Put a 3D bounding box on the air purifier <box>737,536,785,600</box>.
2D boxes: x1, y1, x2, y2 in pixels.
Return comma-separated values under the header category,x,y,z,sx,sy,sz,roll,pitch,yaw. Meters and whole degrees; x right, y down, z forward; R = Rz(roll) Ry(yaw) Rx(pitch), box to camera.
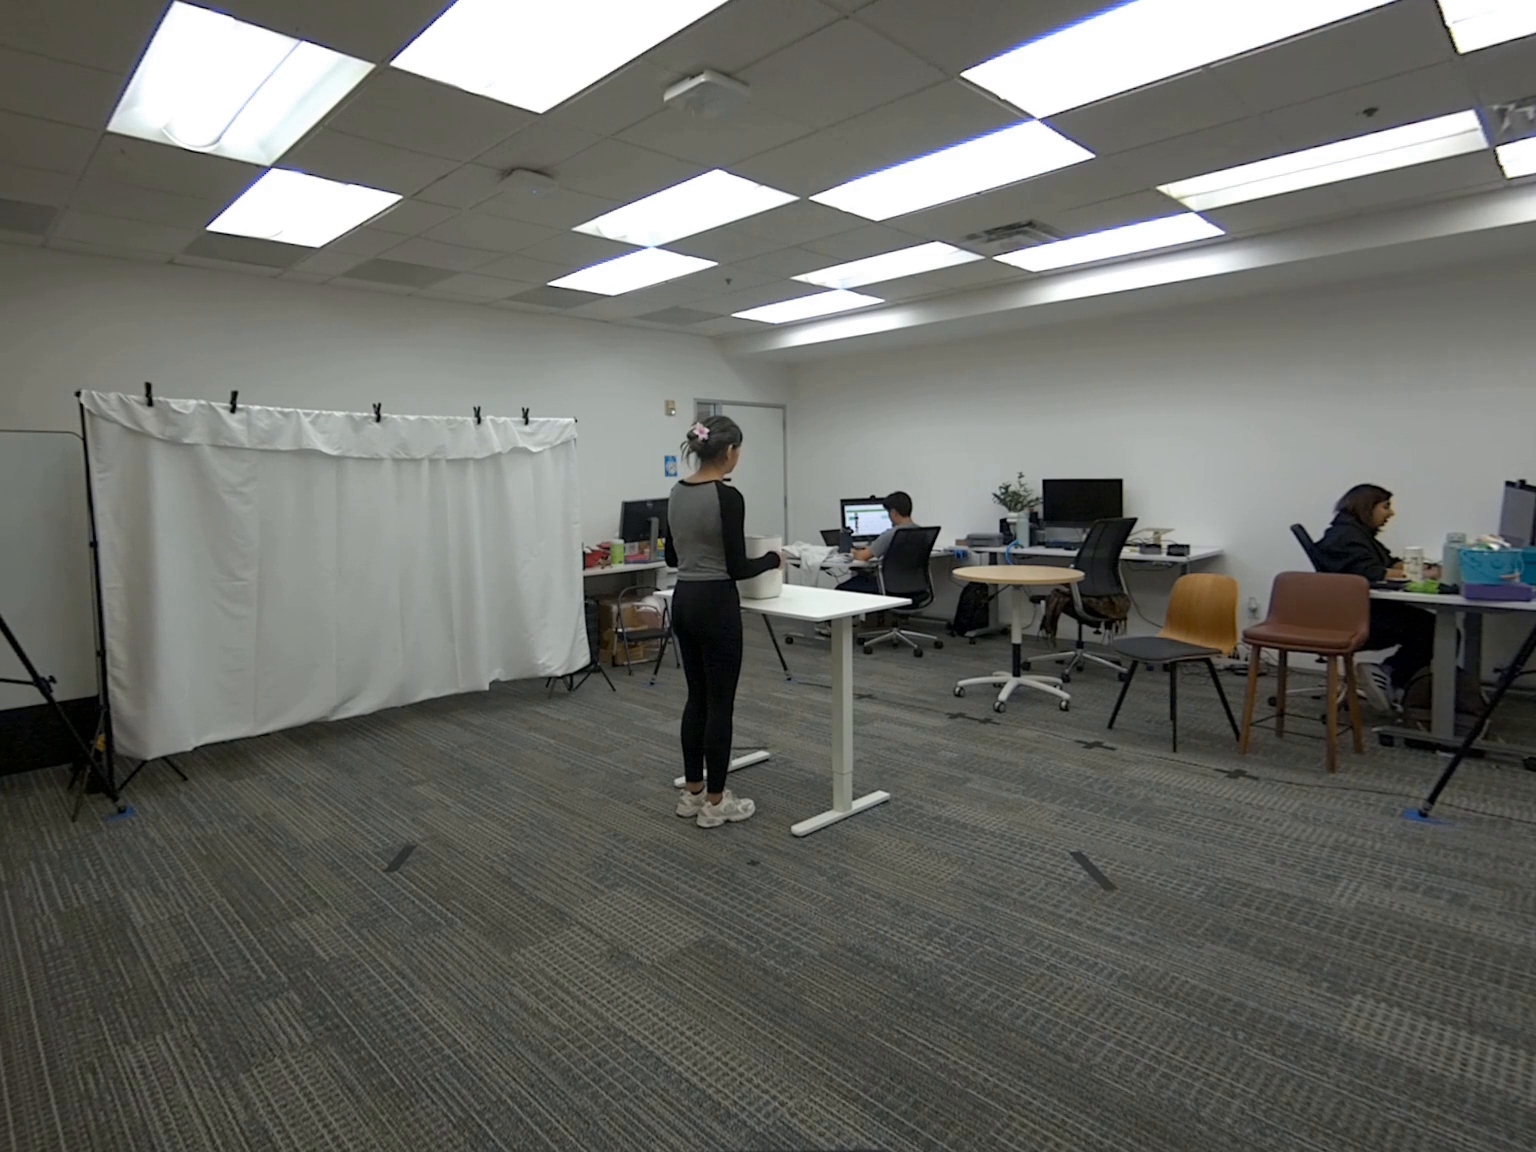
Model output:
category,x,y,z,sx,sy,sz,roll,pitch,yaw
air purifier,-0.033,-0.043,3.706,0.166,0.264,0.177,-6,8,-43
